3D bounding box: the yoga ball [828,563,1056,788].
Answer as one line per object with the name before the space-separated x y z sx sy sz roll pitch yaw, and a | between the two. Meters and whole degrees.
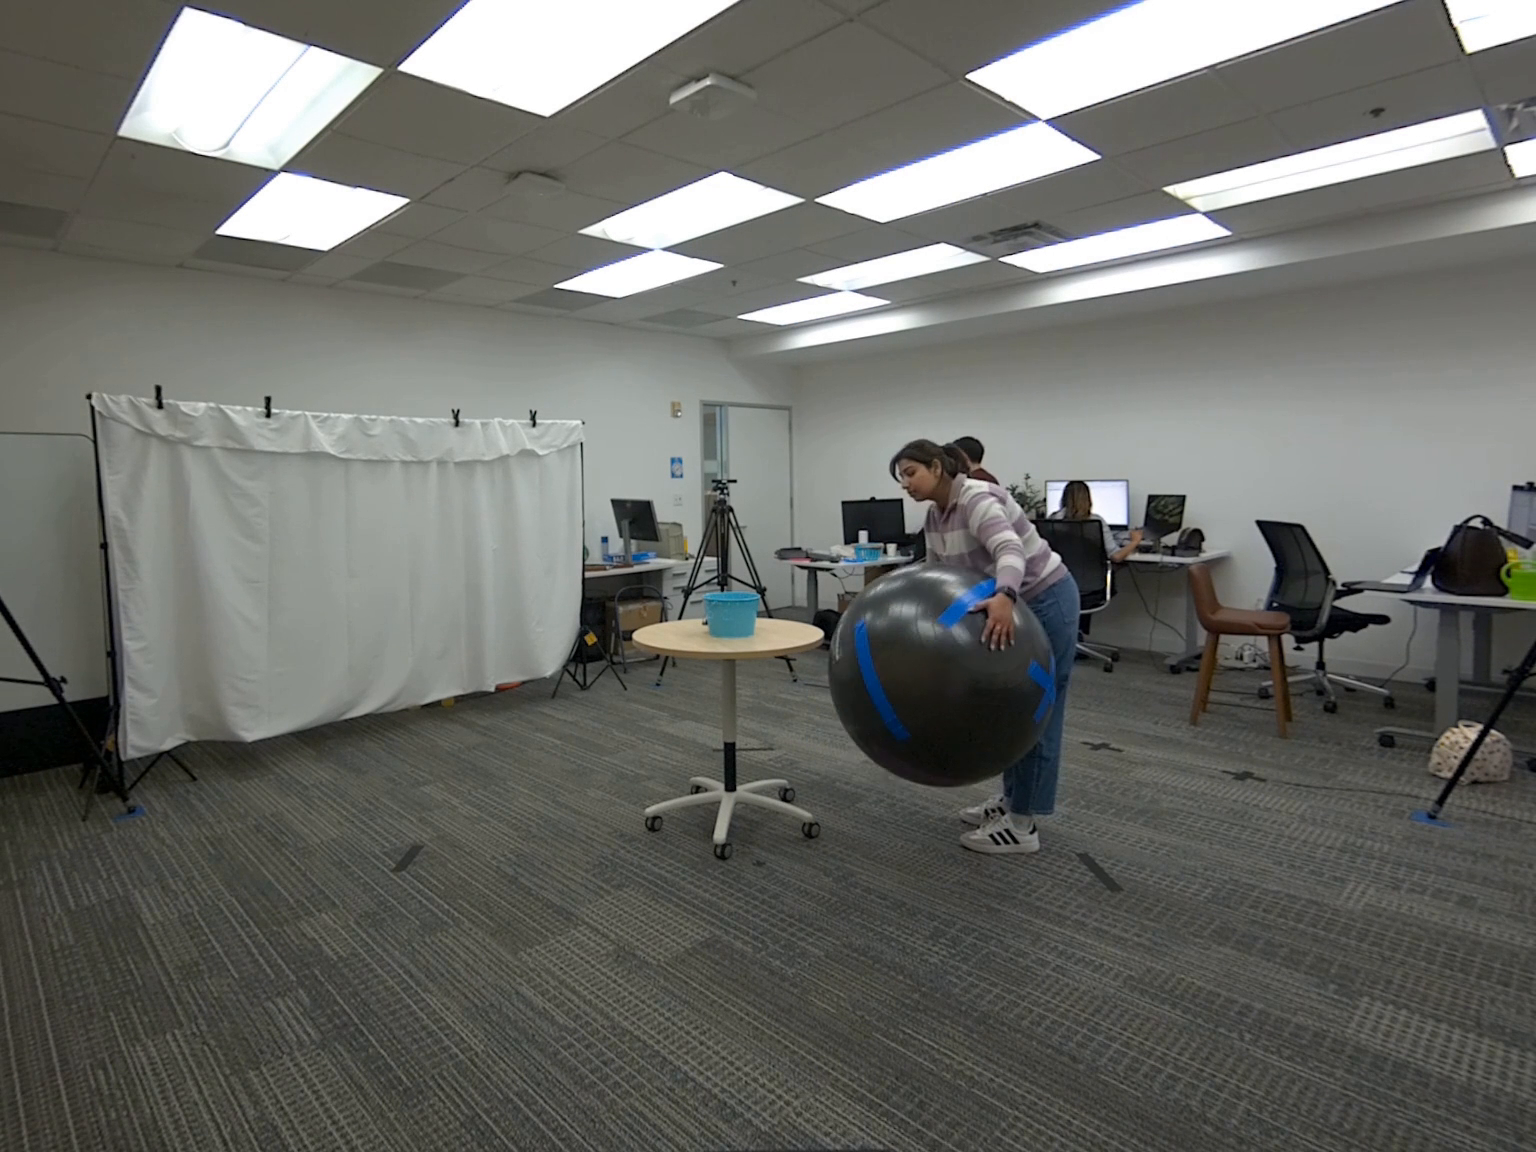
yoga ball | 0.588 0.337 2.947 0.757 0.755 0.762 -1 5 -2
